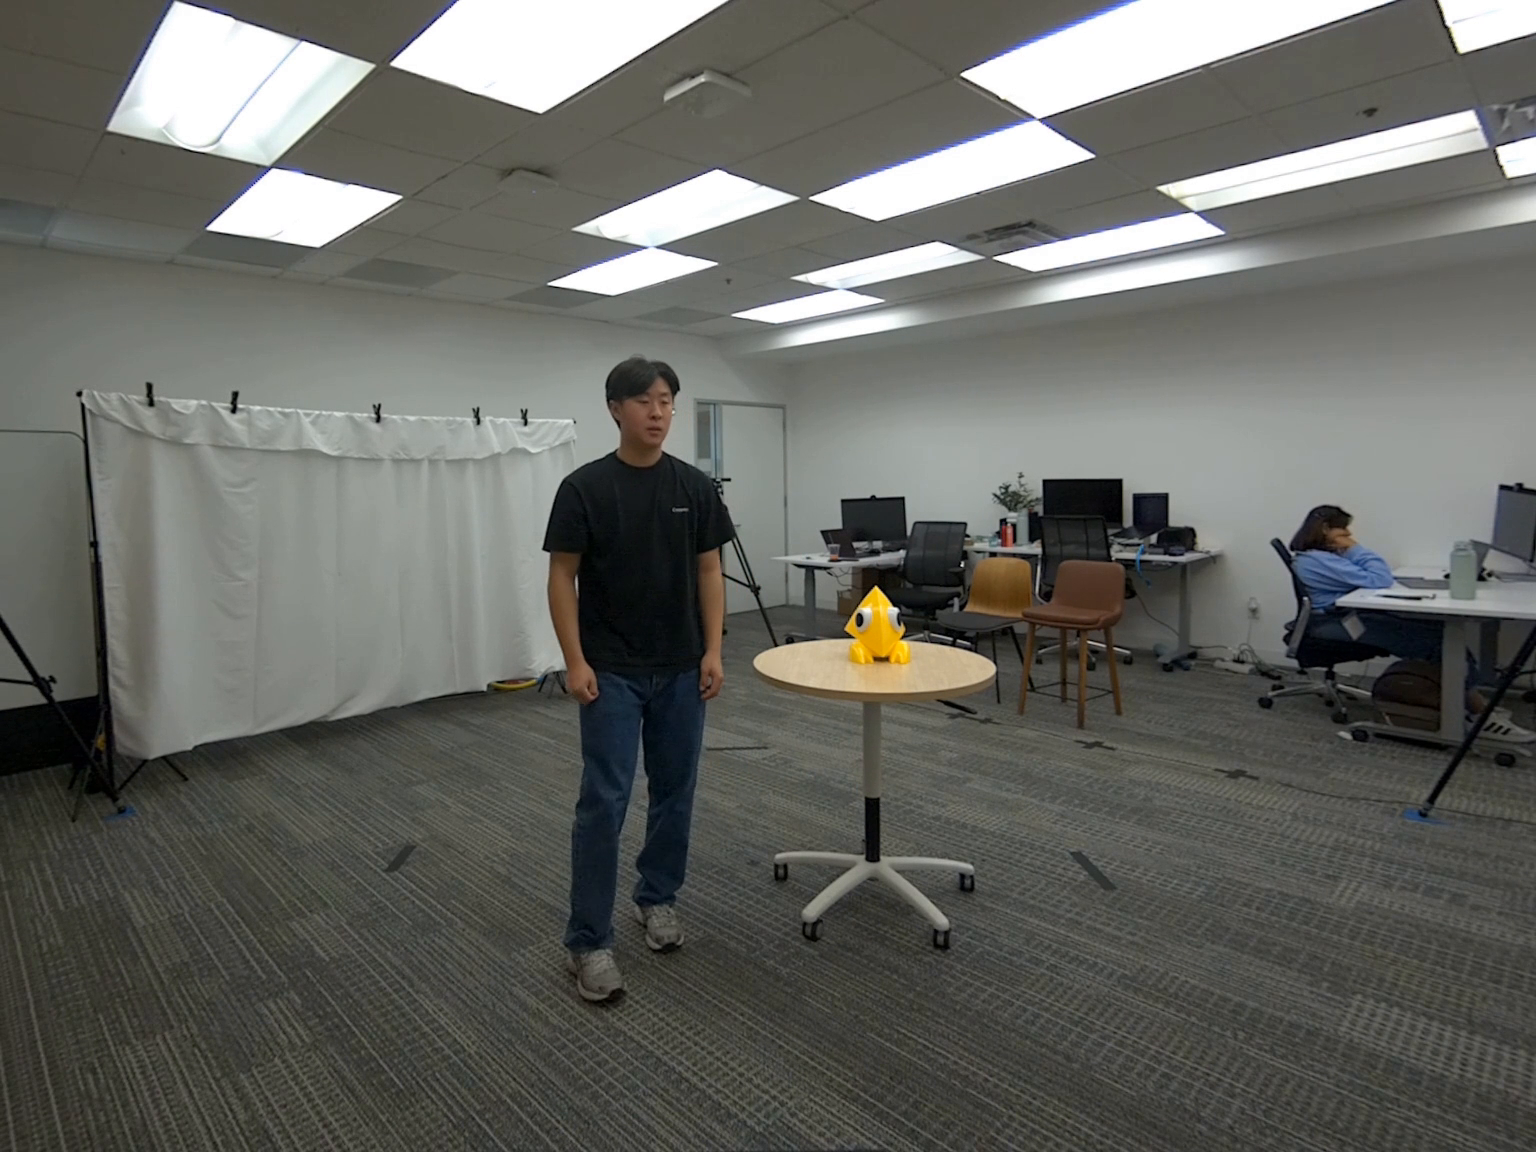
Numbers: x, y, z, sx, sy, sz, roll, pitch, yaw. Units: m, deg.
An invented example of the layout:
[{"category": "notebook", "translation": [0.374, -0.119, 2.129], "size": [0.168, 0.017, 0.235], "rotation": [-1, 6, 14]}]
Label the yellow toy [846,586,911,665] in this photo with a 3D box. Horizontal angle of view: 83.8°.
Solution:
[{"category": "yellow toy", "translation": [0.369, 0.156, 2.809], "size": [0.205, 0.230, 0.193], "rotation": [-1, 4, 1]}]
